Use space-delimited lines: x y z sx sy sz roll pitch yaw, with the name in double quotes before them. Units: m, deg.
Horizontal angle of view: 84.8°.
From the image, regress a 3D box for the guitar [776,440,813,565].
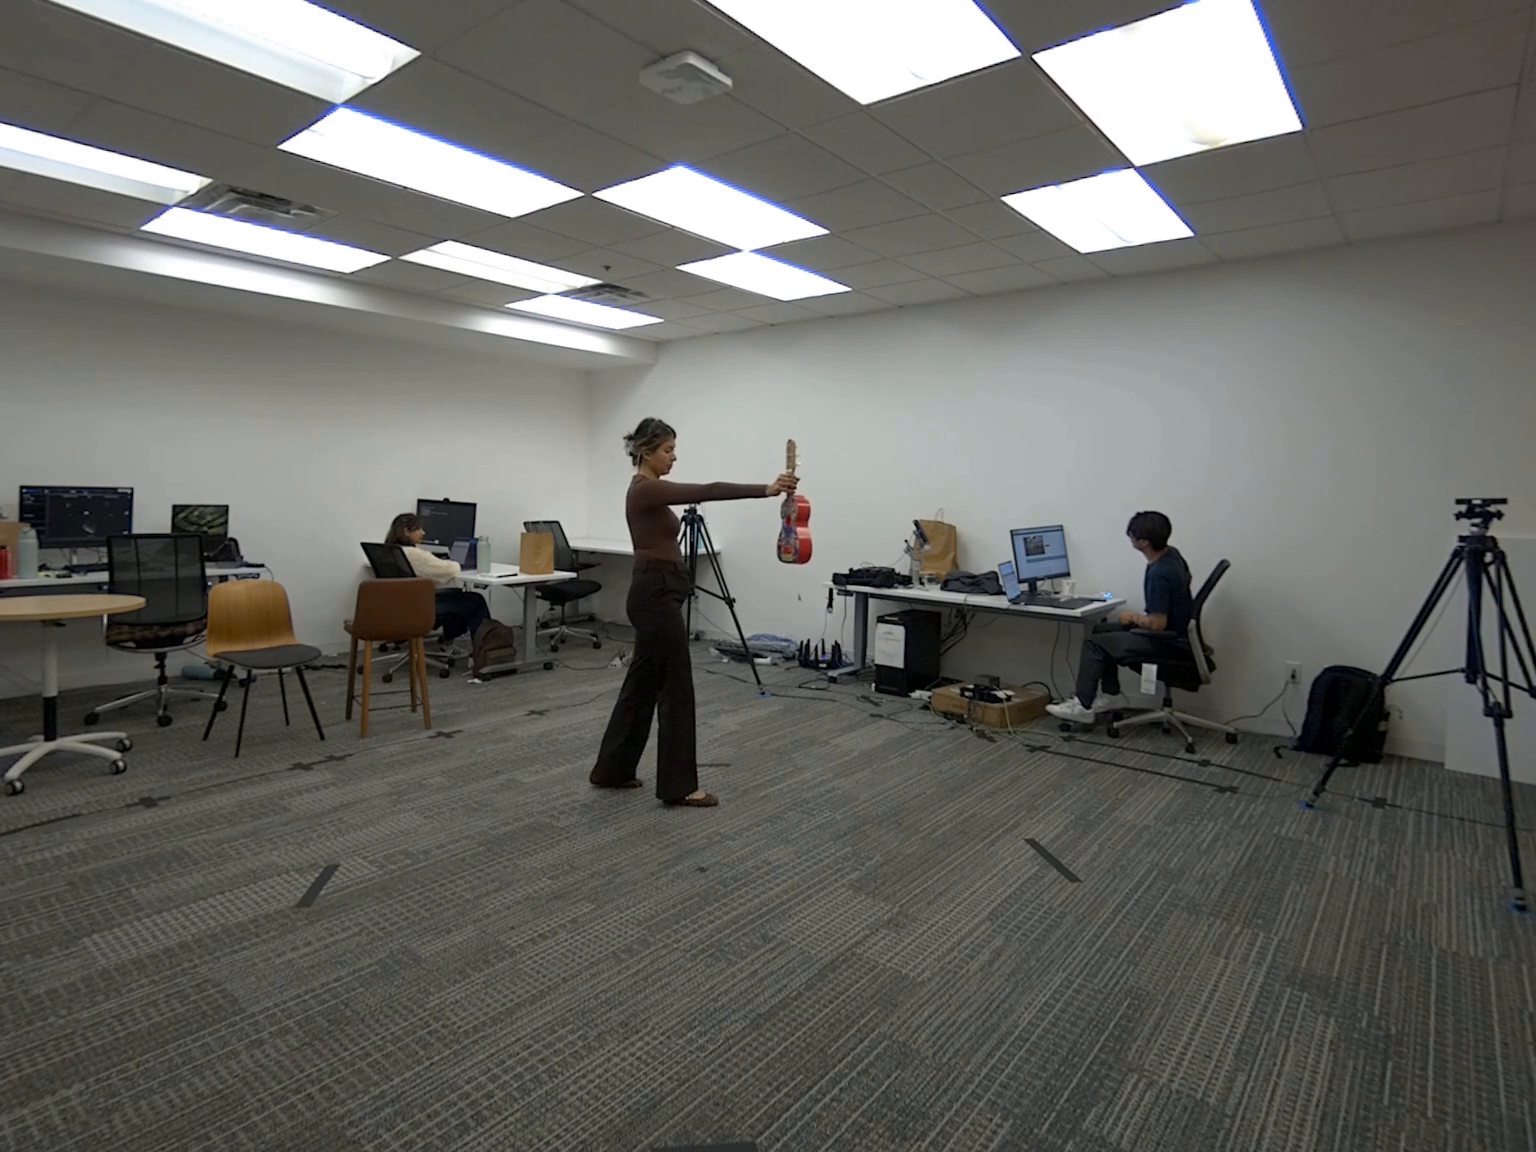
"guitar" 0.104 -0.296 3.395 0.069 0.494 0.199 1 10 -22
